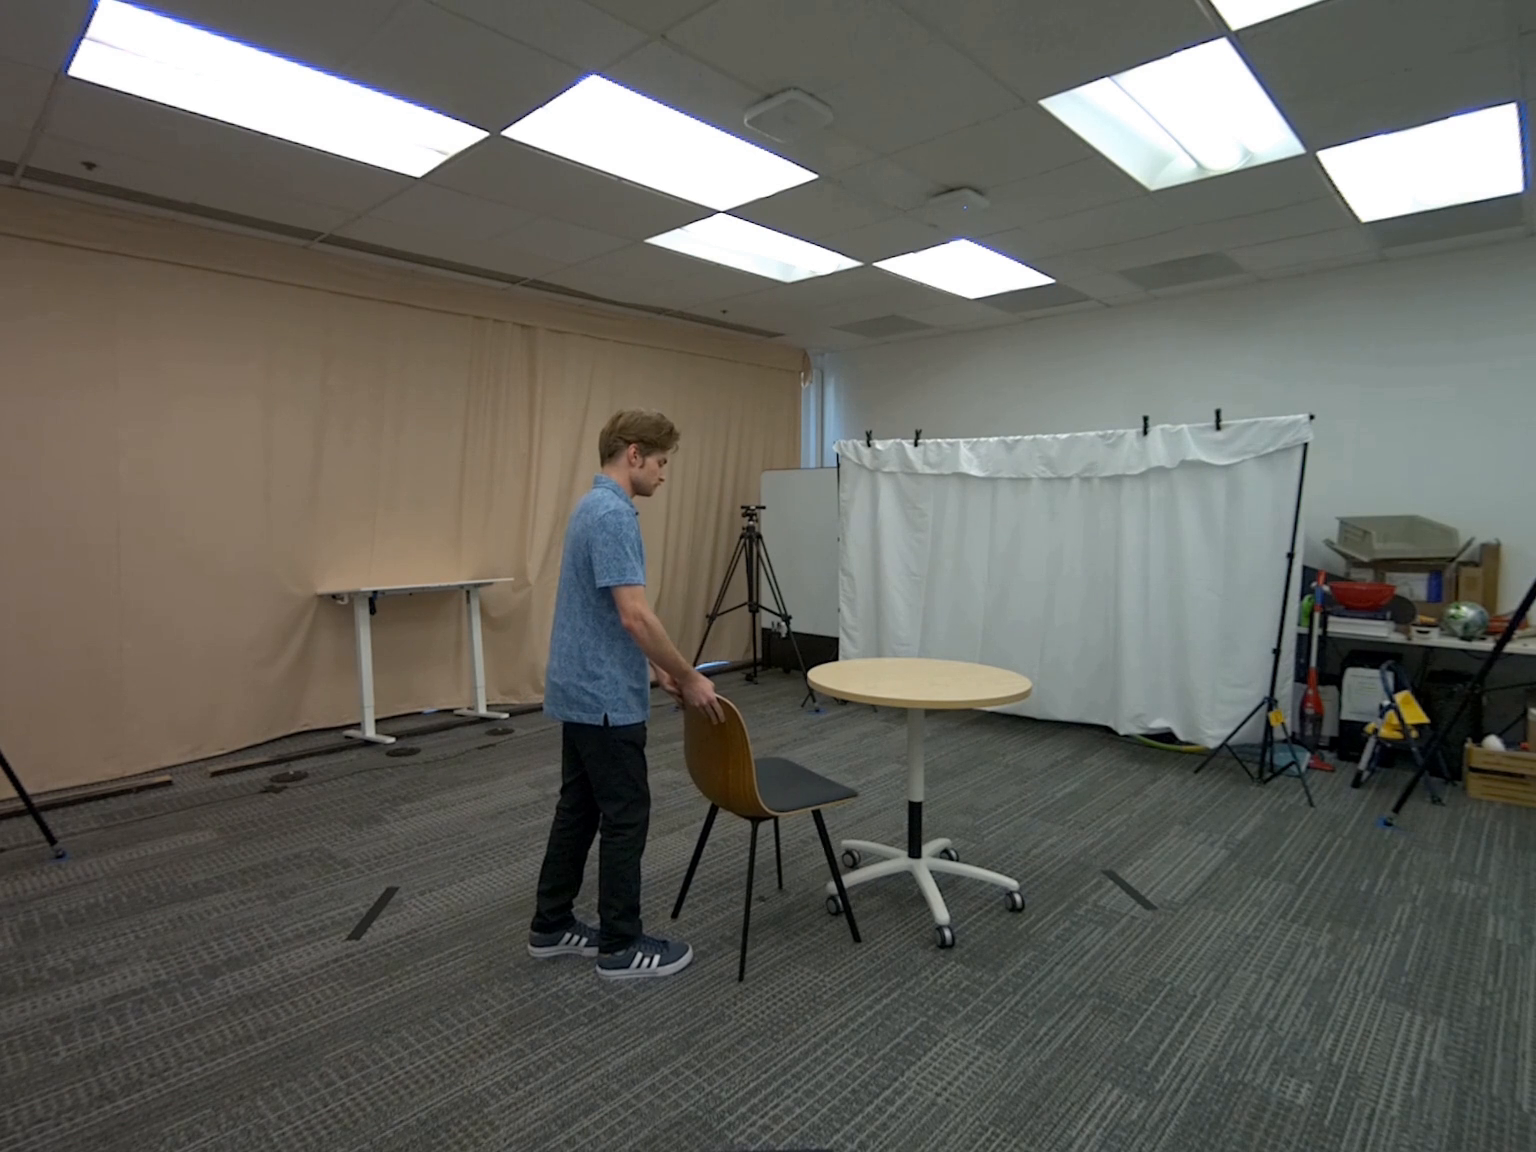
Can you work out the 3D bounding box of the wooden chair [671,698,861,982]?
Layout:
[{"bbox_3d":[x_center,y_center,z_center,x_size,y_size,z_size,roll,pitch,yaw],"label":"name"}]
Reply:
[{"bbox_3d":[-0.006,0.735,2.740,0.510,0.874,0.492,-7,6,-31],"label":"wooden chair"}]
